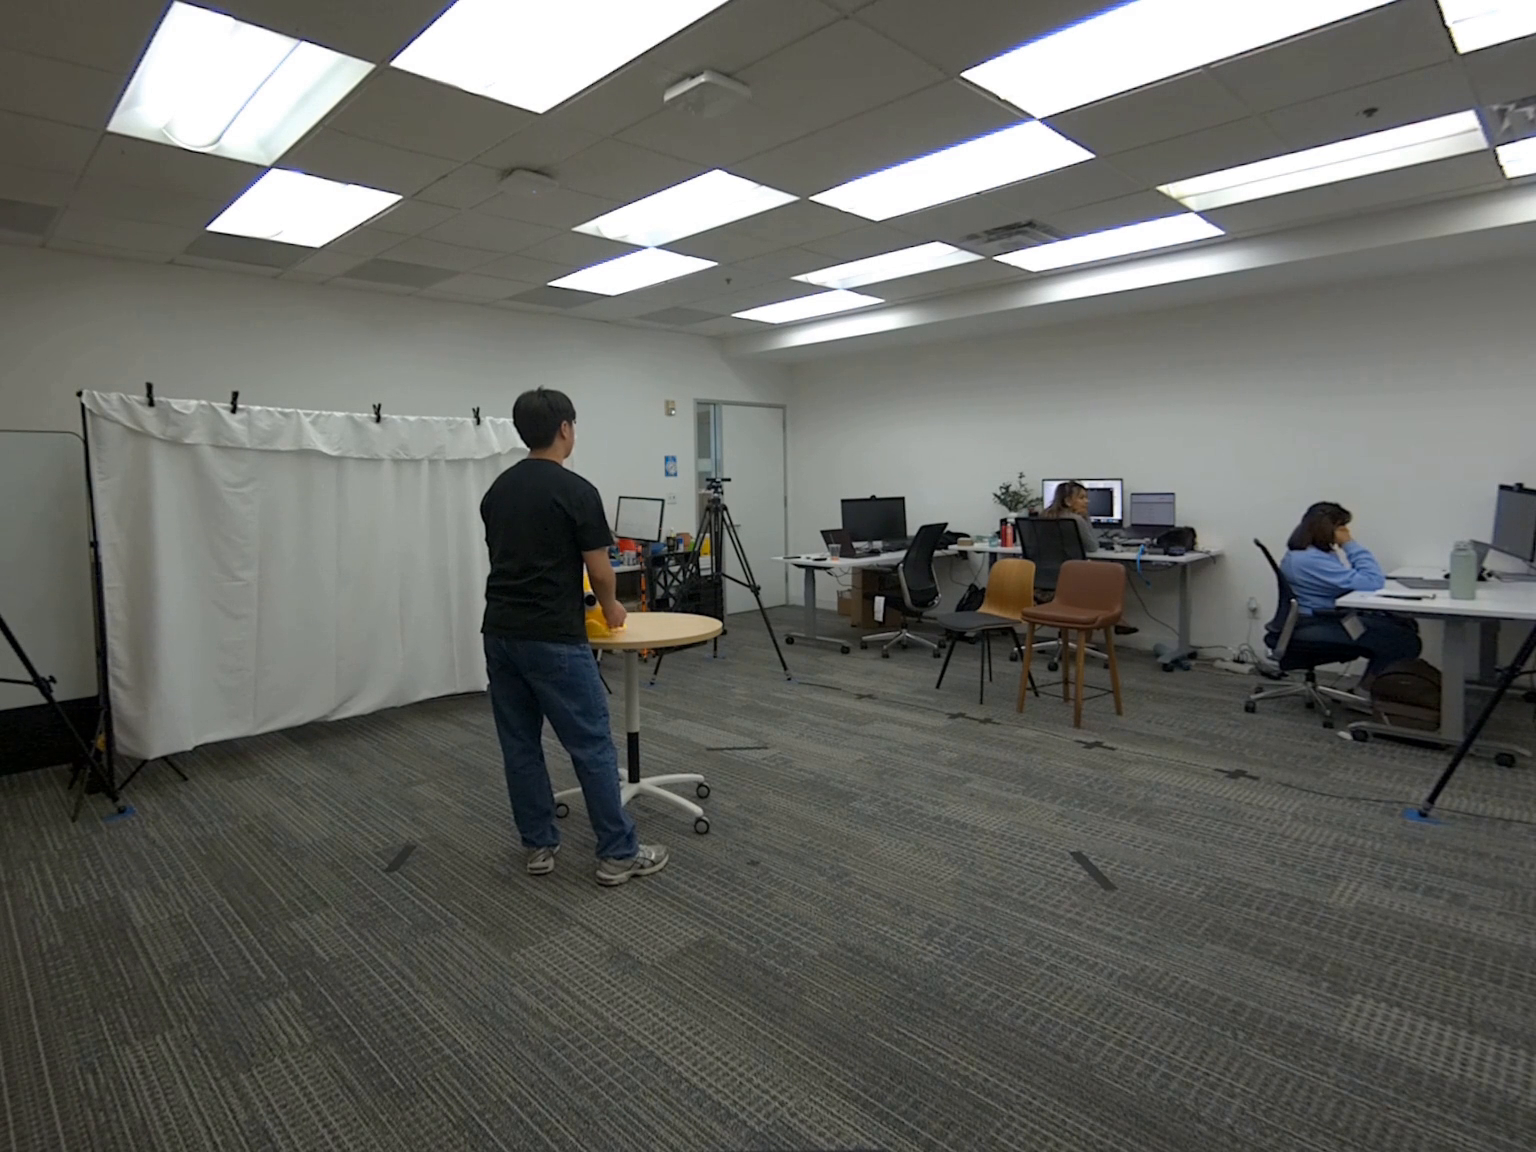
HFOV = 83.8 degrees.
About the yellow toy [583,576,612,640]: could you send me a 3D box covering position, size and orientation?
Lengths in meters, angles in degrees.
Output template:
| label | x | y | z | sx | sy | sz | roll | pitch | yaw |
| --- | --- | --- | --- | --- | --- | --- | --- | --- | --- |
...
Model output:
| label | x | y | z | sx | sy | sz | roll | pitch | yaw |
| --- | --- | --- | --- | --- | --- | --- | --- | --- | --- |
| yellow toy | -0.670 | 0.094 | 3.362 | 0.197 | 0.229 | 0.202 | 0 | 6 | 21 |
